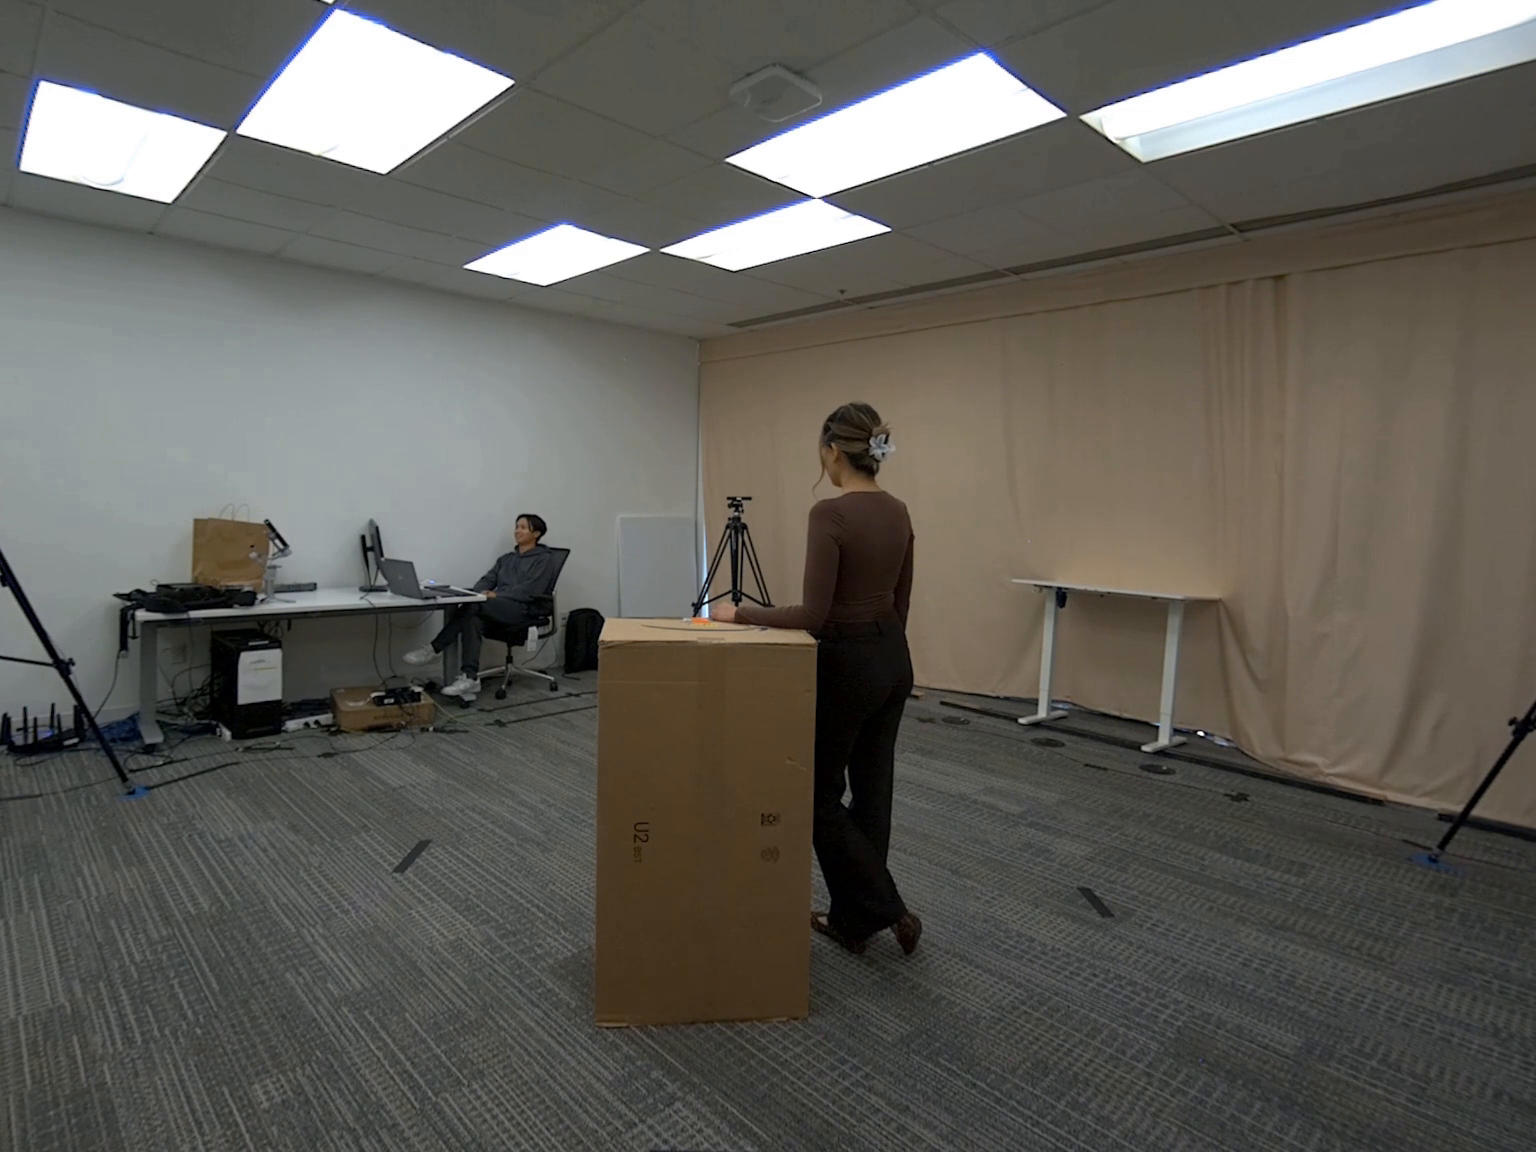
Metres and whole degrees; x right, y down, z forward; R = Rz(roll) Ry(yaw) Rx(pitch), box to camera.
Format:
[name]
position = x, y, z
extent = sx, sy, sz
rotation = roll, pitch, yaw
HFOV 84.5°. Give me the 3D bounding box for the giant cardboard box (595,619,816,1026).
[giant cardboard box]
position = -0.202, 0.661, 2.410
extent = 0.580, 1.024, 0.450
rotation = 1, 3, -8
